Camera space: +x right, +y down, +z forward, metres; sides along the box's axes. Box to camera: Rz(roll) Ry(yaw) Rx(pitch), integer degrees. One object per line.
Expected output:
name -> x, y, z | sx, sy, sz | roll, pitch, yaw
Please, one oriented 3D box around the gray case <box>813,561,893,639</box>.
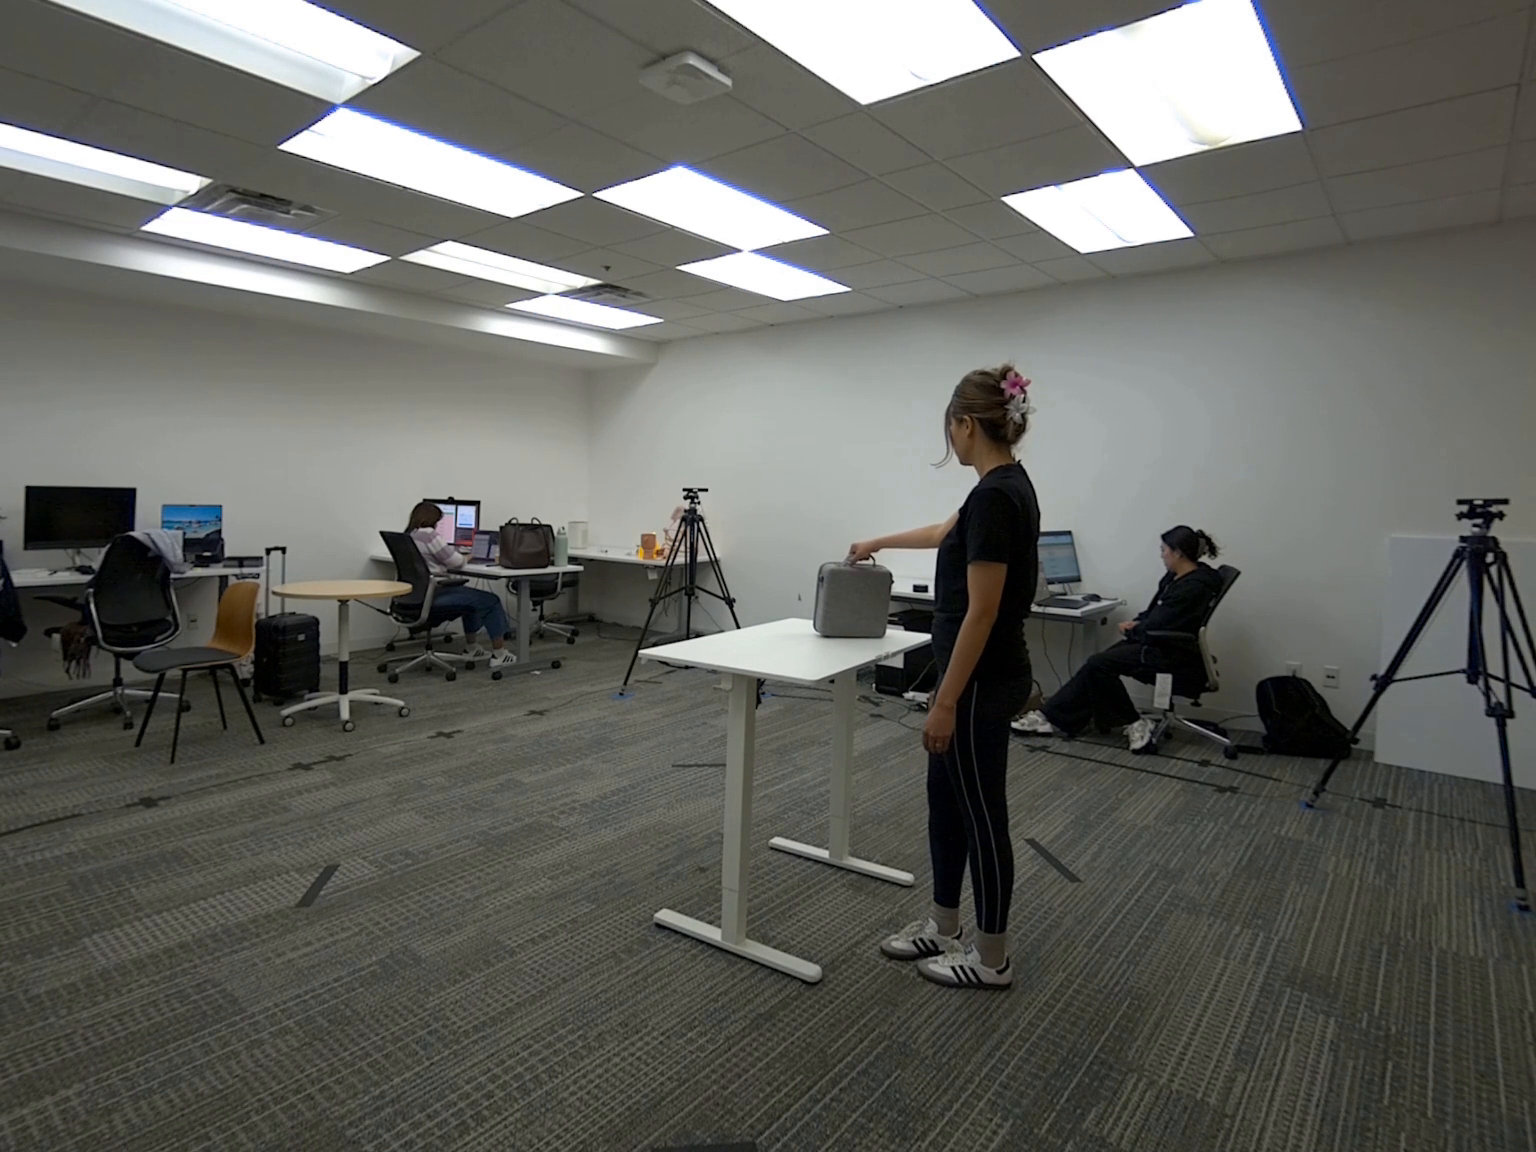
gray case -> 0.290, 0.079, 2.995 | 0.254, 0.259, 0.106 | 2, 8, -11
